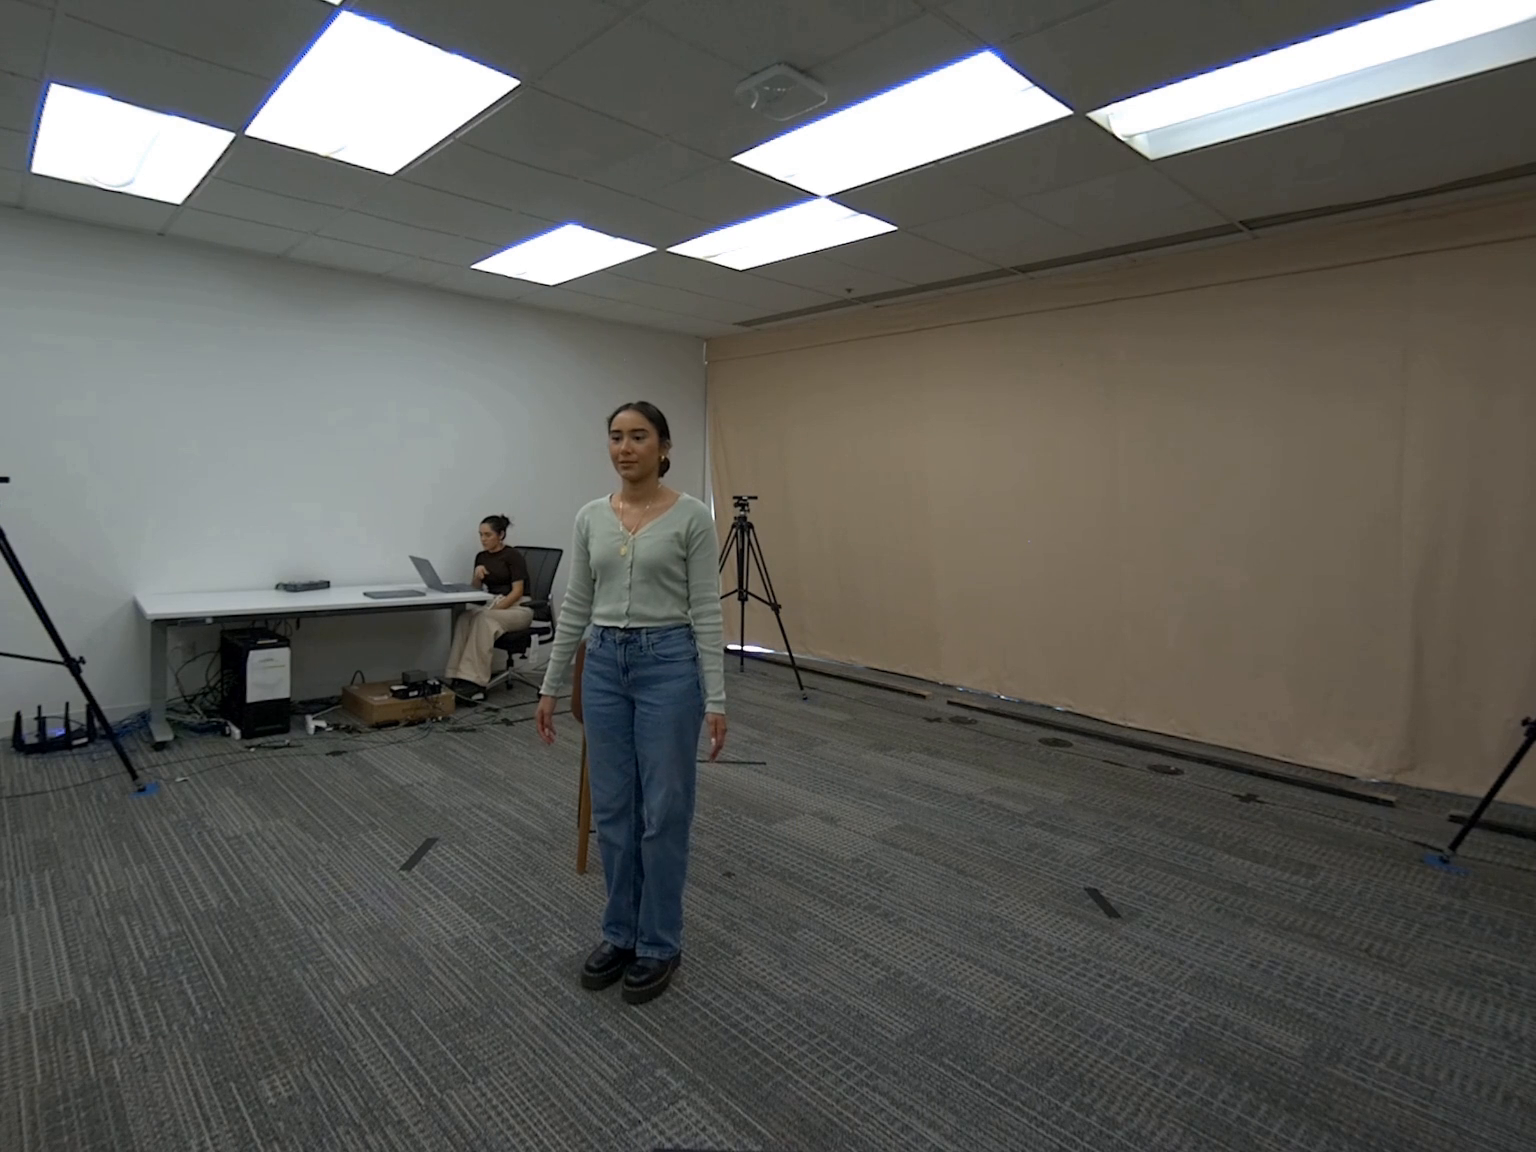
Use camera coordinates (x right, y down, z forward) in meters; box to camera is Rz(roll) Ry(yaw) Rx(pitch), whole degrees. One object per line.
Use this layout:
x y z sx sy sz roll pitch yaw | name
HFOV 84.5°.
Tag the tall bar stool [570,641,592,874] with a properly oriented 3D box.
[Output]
-0.546 0.643 3.295 0.453 0.886 0.473 1 5 -10 | tall bar stool
